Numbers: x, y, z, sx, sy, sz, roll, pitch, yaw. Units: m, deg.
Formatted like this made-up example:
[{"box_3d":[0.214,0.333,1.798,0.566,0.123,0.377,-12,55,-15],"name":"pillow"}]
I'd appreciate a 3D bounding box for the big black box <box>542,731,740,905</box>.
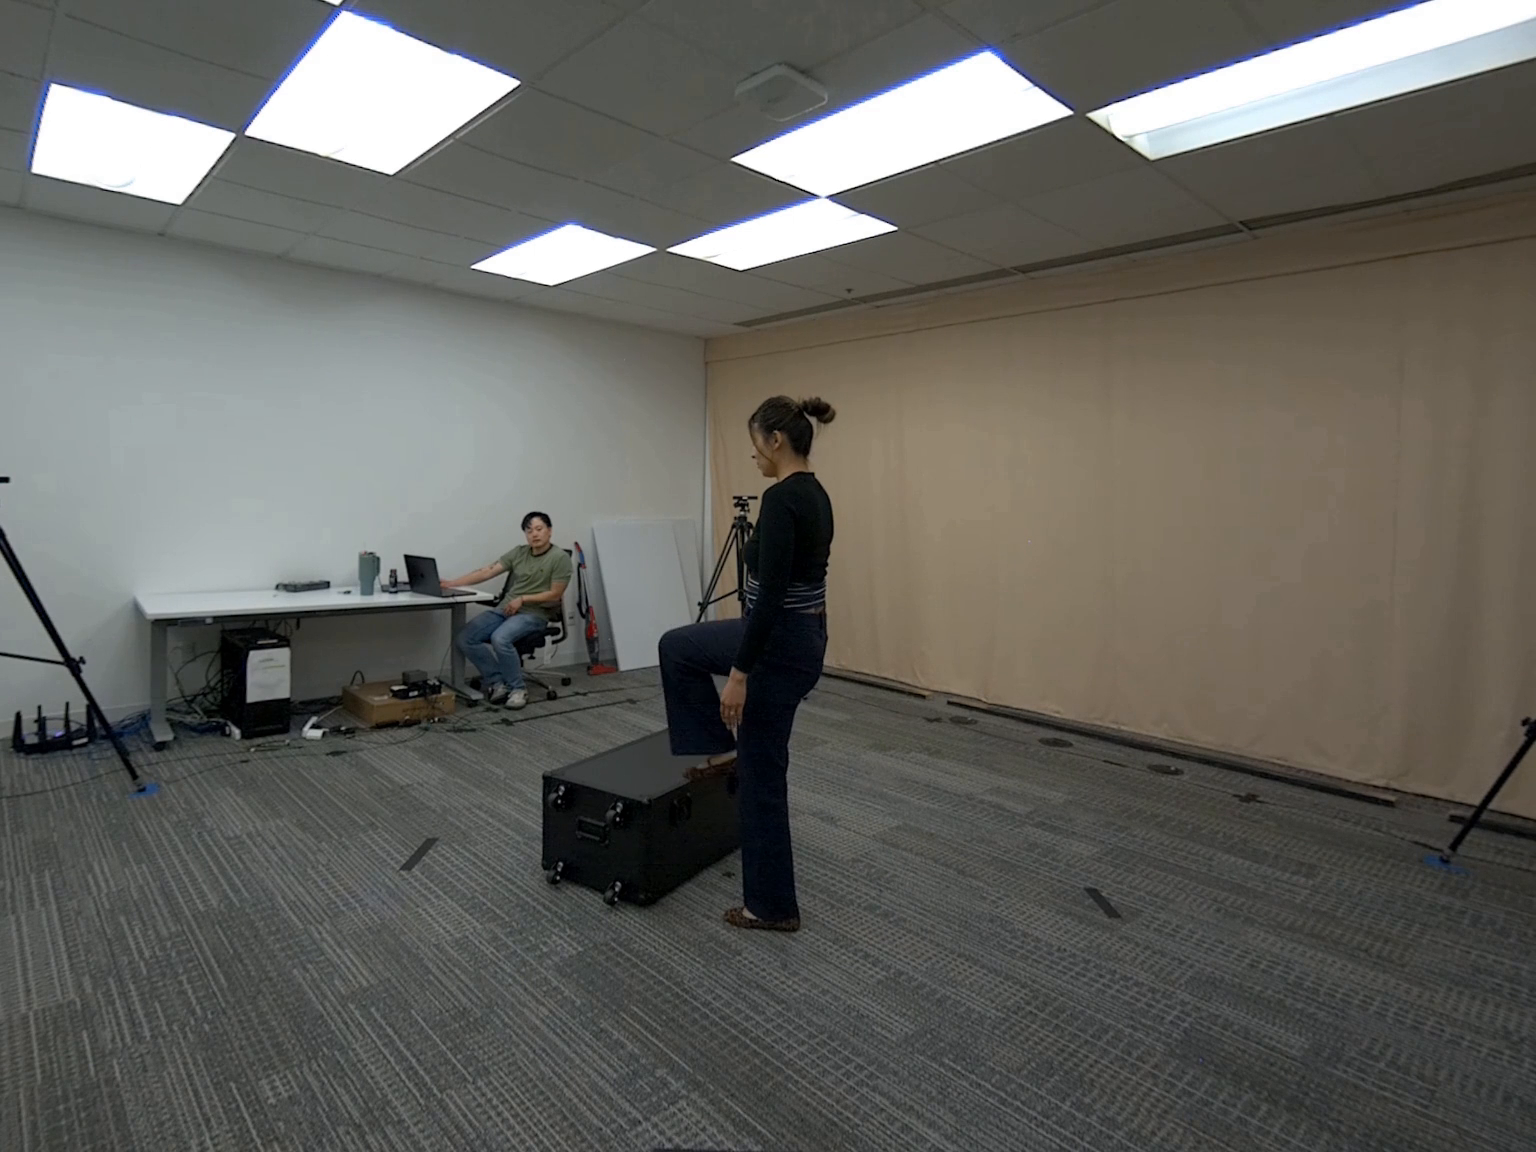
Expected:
[{"box_3d":[-0.445,0.895,3.231,0.533,0.395,0.845,5,6,30],"name":"big black box"}]
